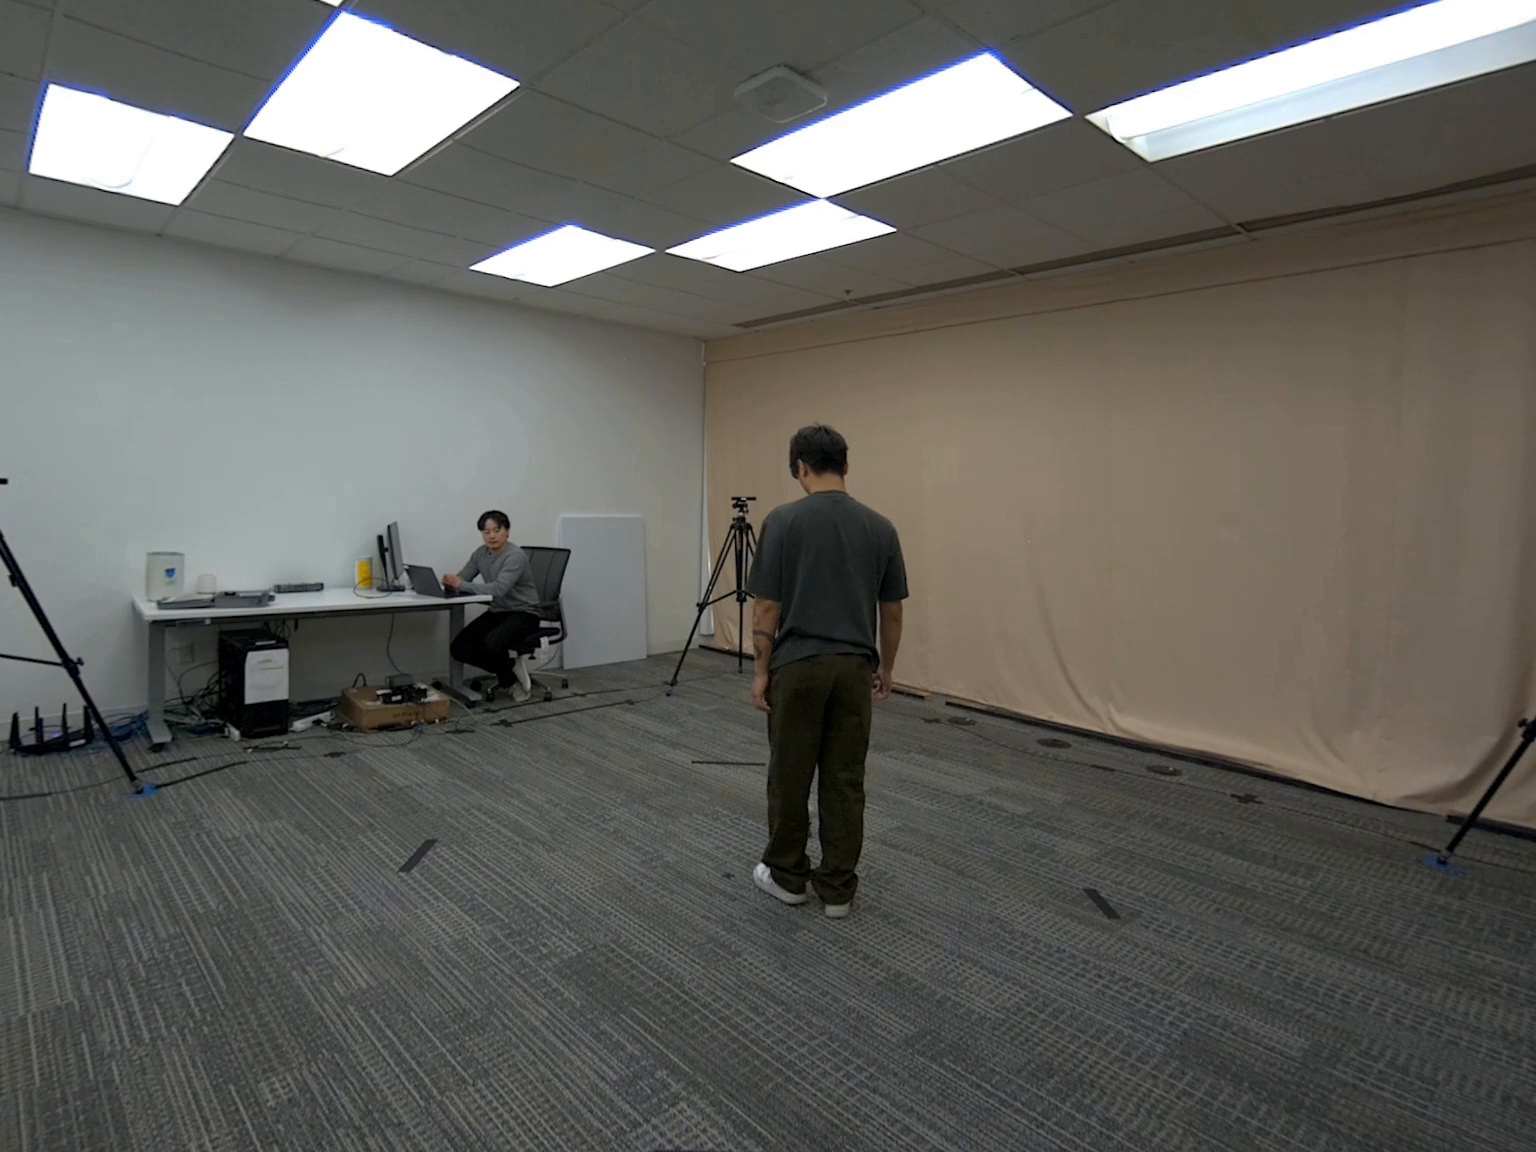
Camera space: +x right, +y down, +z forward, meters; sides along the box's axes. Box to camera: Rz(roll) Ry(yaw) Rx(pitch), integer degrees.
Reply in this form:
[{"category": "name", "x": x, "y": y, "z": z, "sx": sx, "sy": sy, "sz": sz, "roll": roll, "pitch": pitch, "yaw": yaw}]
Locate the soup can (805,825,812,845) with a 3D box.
[{"category": "soup can", "x": 0.146, "y": 1.025, "z": 3.498, "sx": 0.067, "sy": 0.121, "sz": 0.067, "roll": 3, "pitch": 2, "yaw": -1}]
